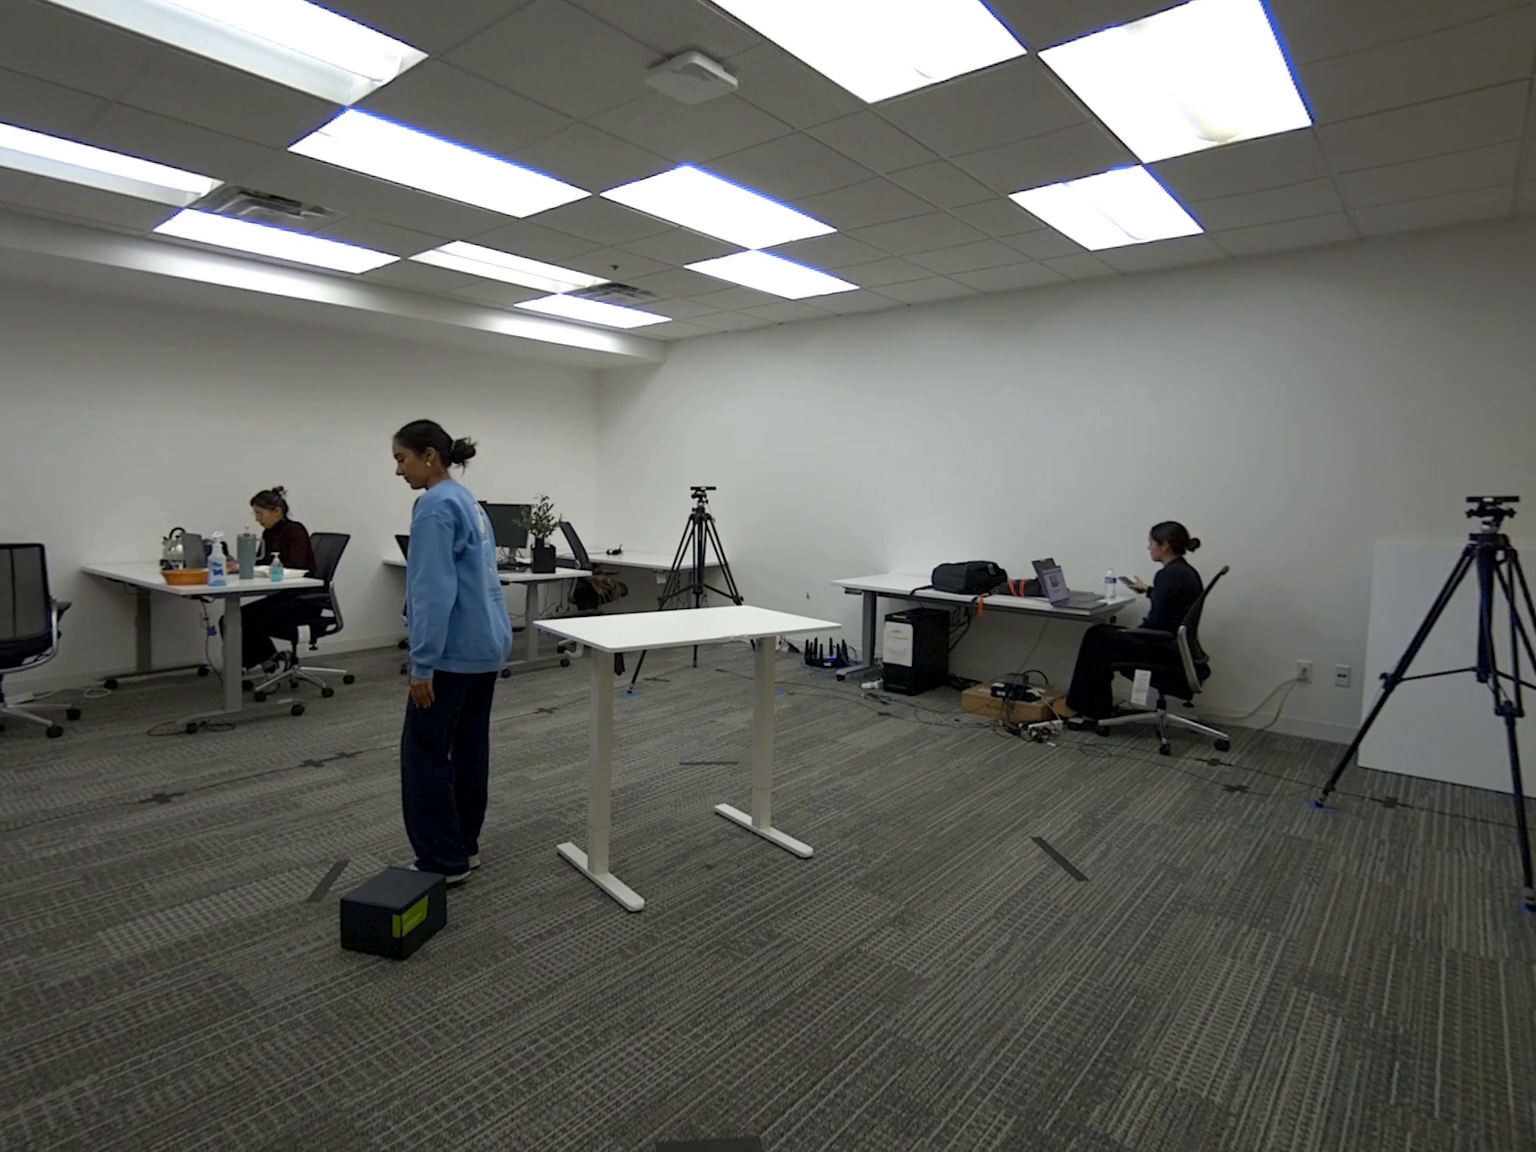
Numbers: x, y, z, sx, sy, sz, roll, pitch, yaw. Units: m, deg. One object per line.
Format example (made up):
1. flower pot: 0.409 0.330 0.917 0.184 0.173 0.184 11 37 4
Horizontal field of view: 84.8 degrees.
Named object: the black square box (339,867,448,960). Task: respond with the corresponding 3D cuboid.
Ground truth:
1. black square box: -1.149 1.021 2.601 0.220 0.155 0.225 2 5 14
